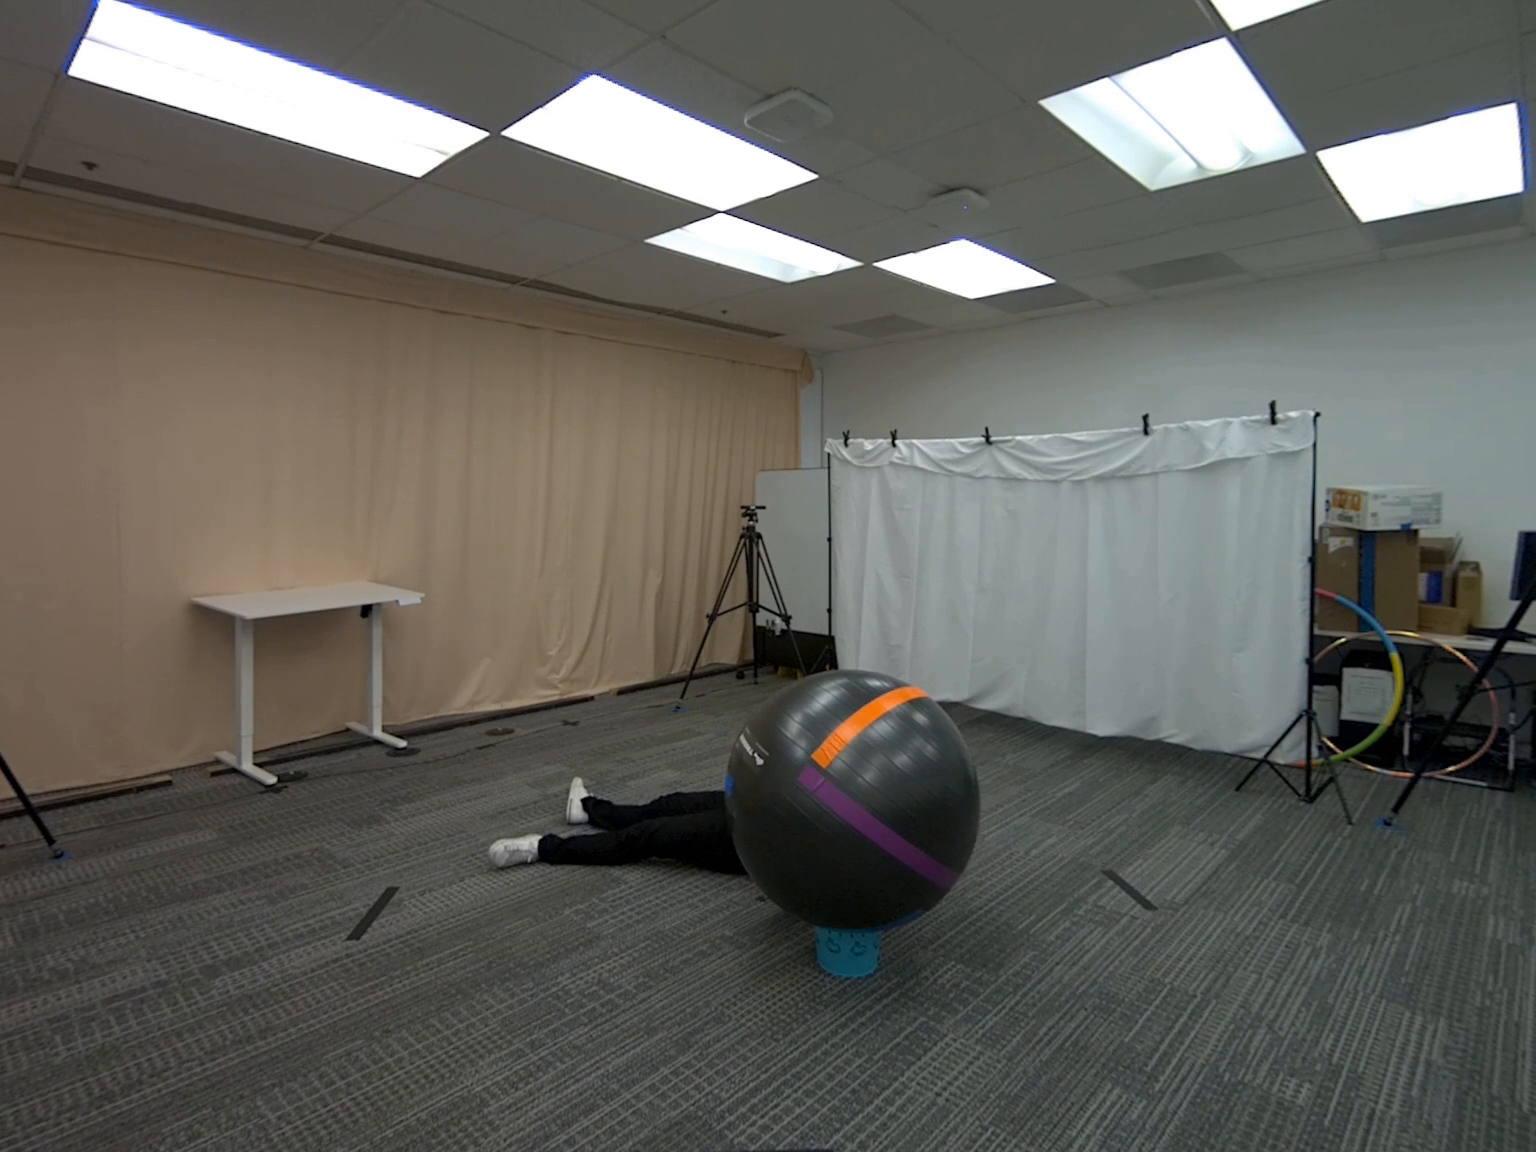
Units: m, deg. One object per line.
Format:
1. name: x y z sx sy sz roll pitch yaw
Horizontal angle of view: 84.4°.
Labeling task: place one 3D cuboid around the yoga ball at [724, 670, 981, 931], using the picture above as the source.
1. yoga ball: 0.247 0.669 2.542 0.757 0.756 0.760 0 4 -2
